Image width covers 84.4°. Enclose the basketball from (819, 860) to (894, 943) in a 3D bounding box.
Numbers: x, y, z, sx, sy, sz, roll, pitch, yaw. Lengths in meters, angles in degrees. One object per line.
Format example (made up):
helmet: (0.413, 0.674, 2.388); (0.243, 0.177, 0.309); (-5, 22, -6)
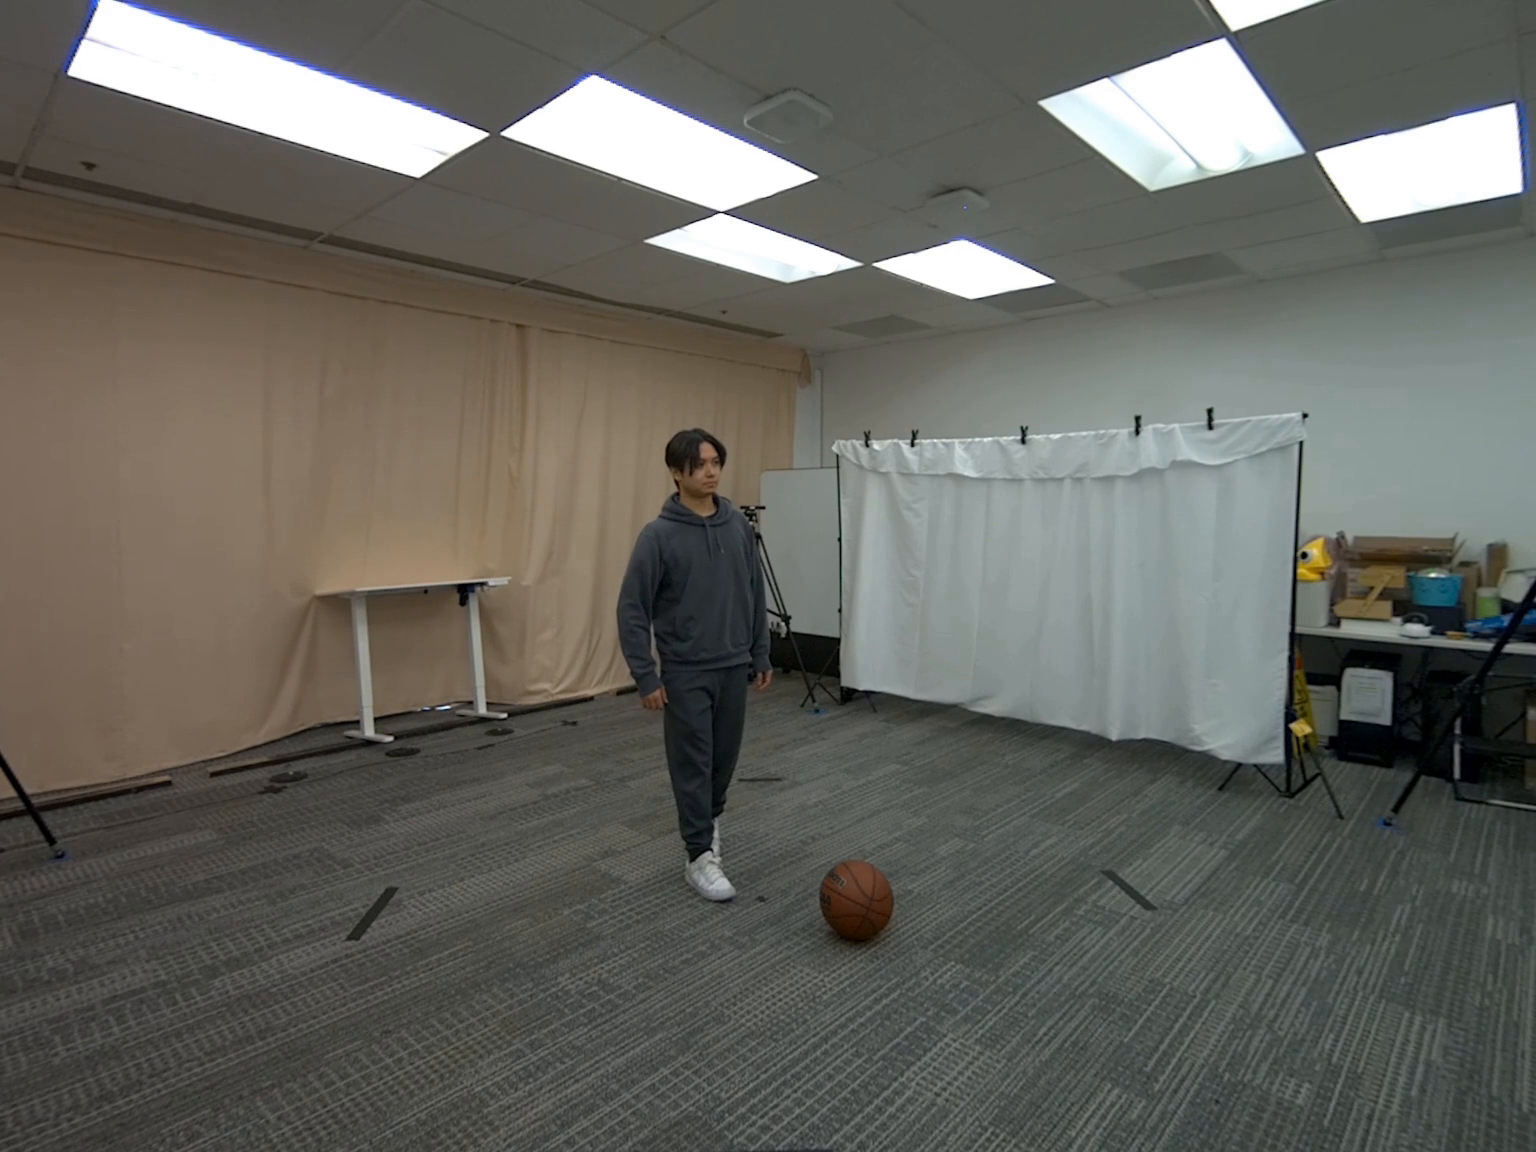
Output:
basketball: (0.289, 1.042, 2.727); (0.236, 0.235, 0.237); (0, 4, -2)
